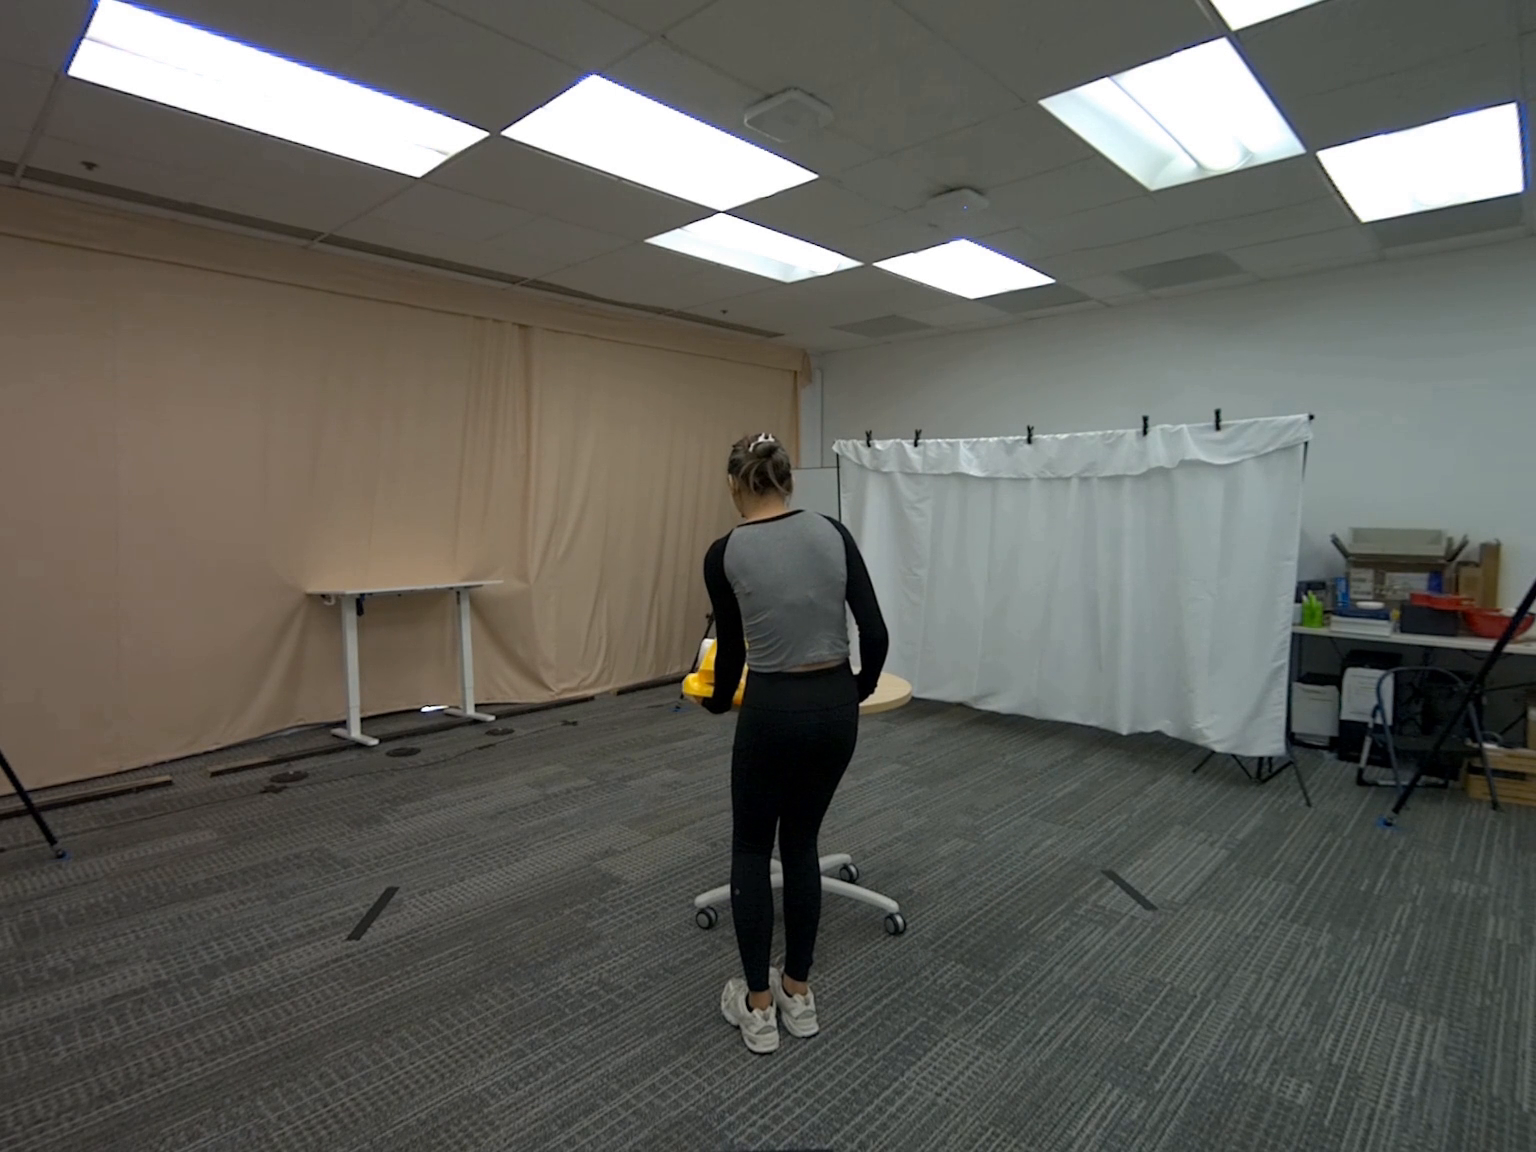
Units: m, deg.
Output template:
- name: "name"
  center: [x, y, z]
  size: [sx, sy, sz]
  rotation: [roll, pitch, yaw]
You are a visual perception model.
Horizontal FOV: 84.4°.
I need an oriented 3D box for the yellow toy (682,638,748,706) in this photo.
- name: "yellow toy"
  center: [-0.139, 0.248, 2.554]
  size: [0.199, 0.231, 0.198]
  rotation: [9, -5, -26]
